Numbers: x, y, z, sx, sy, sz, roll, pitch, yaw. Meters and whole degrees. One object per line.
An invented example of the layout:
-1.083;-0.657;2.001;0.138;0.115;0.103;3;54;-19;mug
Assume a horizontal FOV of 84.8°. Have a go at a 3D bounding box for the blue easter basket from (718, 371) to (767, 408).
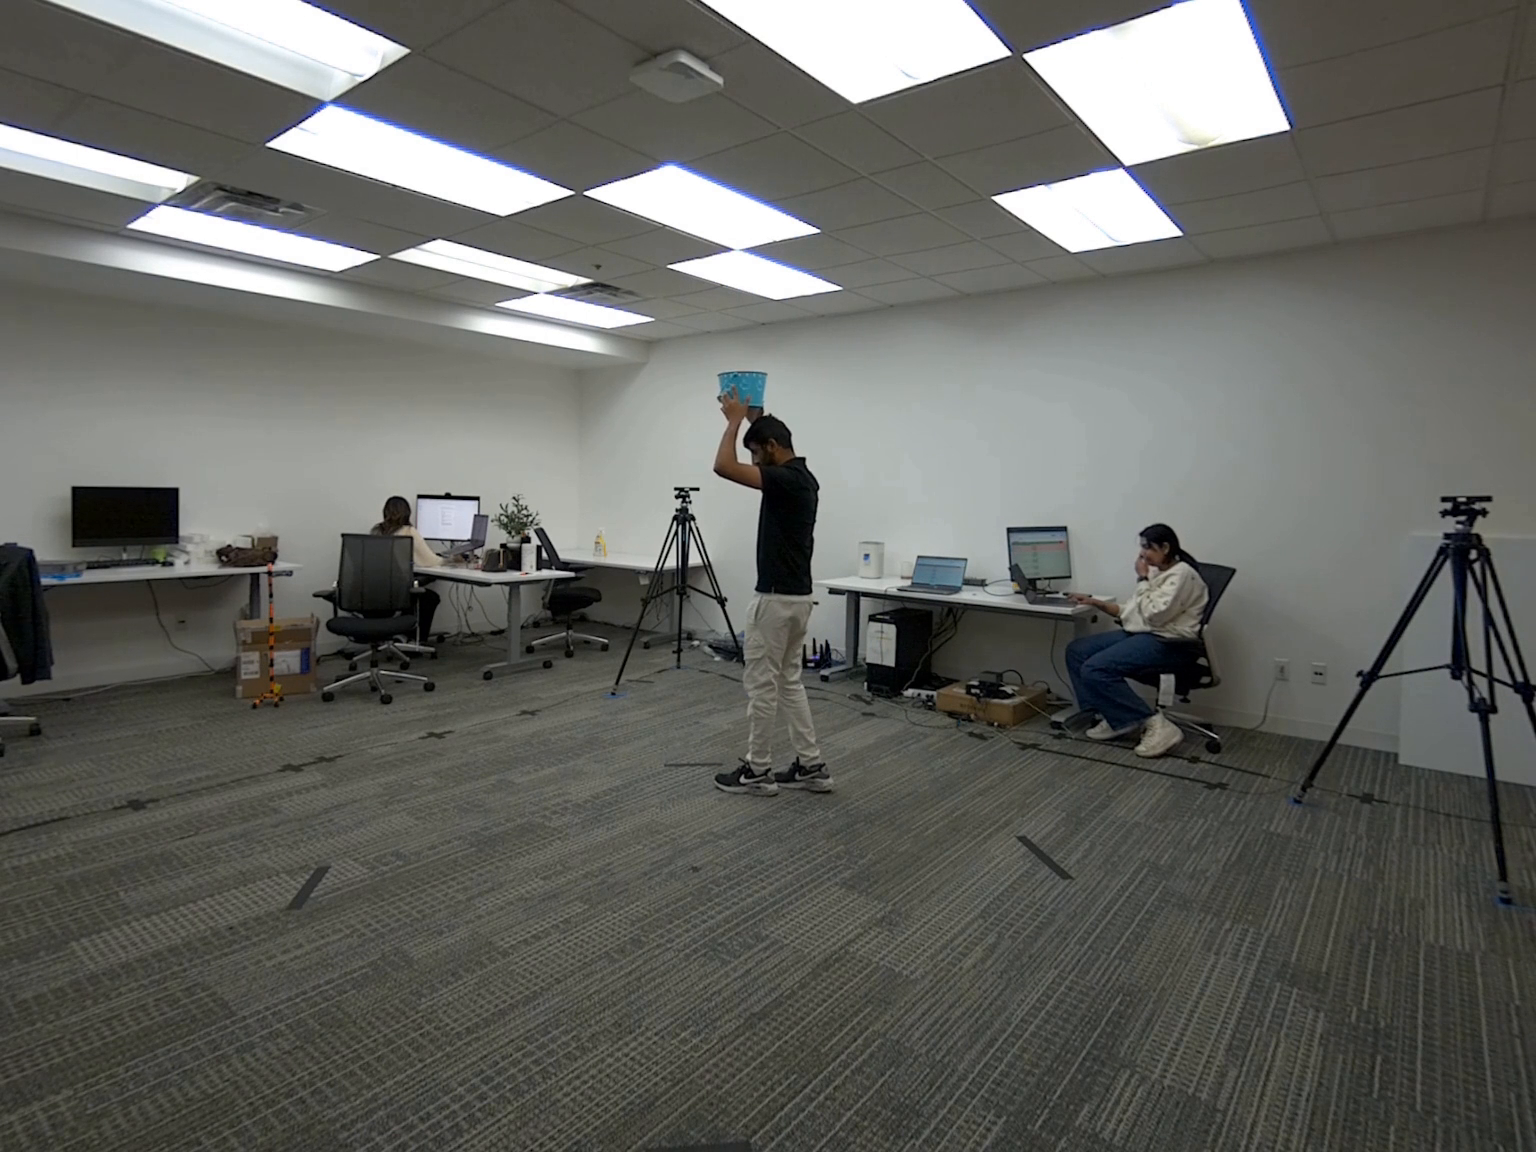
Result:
-0.122;-0.867;3.952;0.243;0.155;0.245;1;4;-2;blue easter basket
